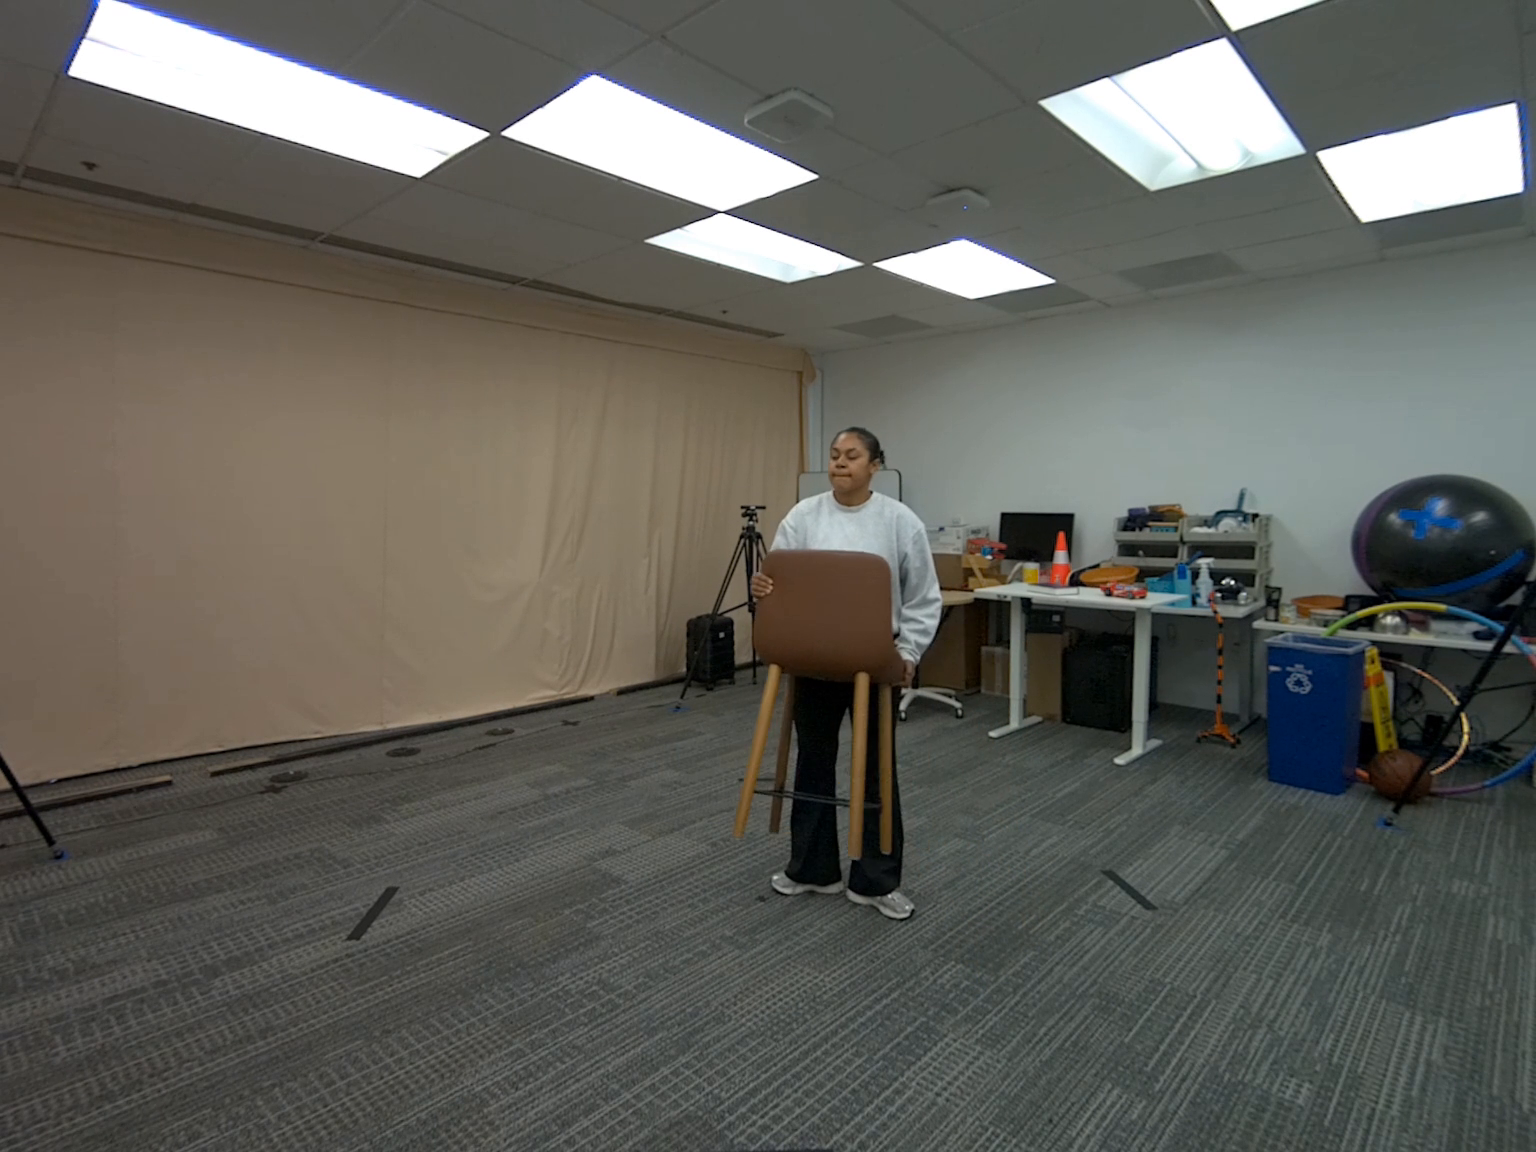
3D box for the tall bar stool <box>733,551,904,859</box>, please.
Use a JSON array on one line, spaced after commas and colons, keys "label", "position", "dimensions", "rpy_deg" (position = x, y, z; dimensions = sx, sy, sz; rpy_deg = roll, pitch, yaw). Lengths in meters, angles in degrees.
[{"label": "tall bar stool", "position": [0.189, 0.409, 2.686], "dimensions": [0.467, 0.895, 0.454], "rpy_deg": [1, -13, 21]}]
